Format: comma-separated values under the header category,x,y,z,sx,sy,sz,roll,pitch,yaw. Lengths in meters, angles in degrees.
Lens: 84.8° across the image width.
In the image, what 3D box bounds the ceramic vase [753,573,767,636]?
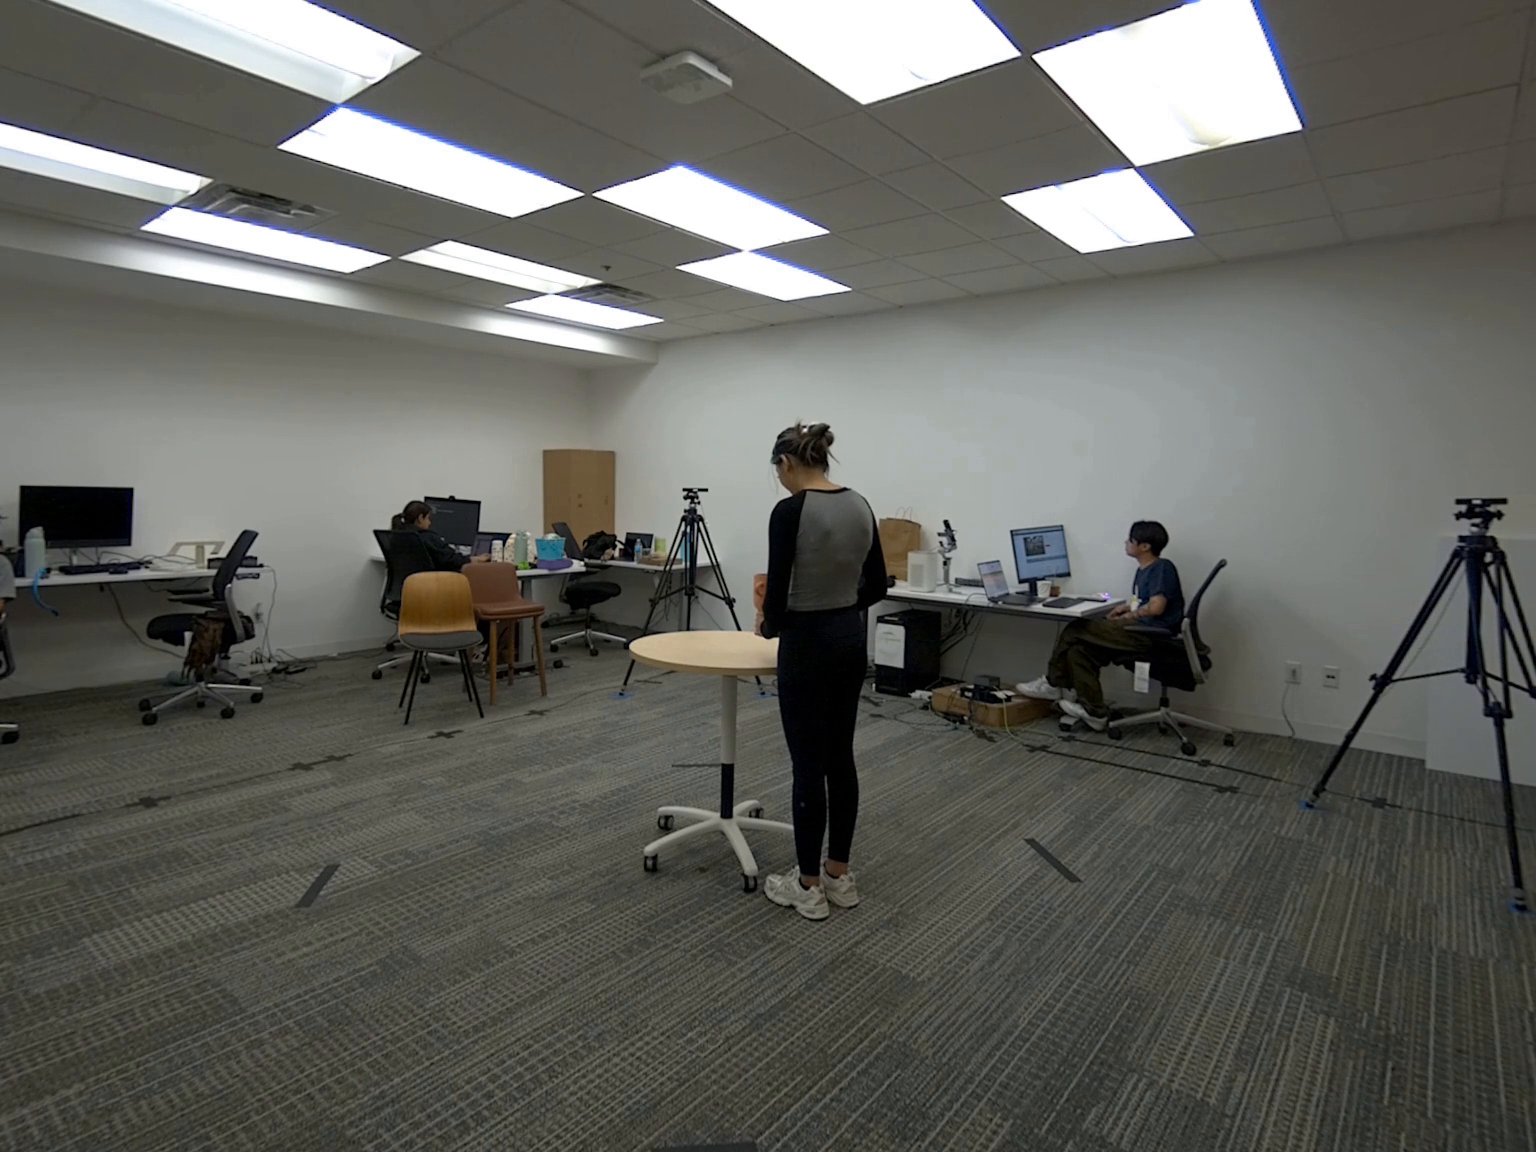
category,x,y,z,sx,sy,sz,roll,pitch,yaw
ceramic vase,0.004,0.101,3.036,0.156,0.220,0.137,2,0,-15
